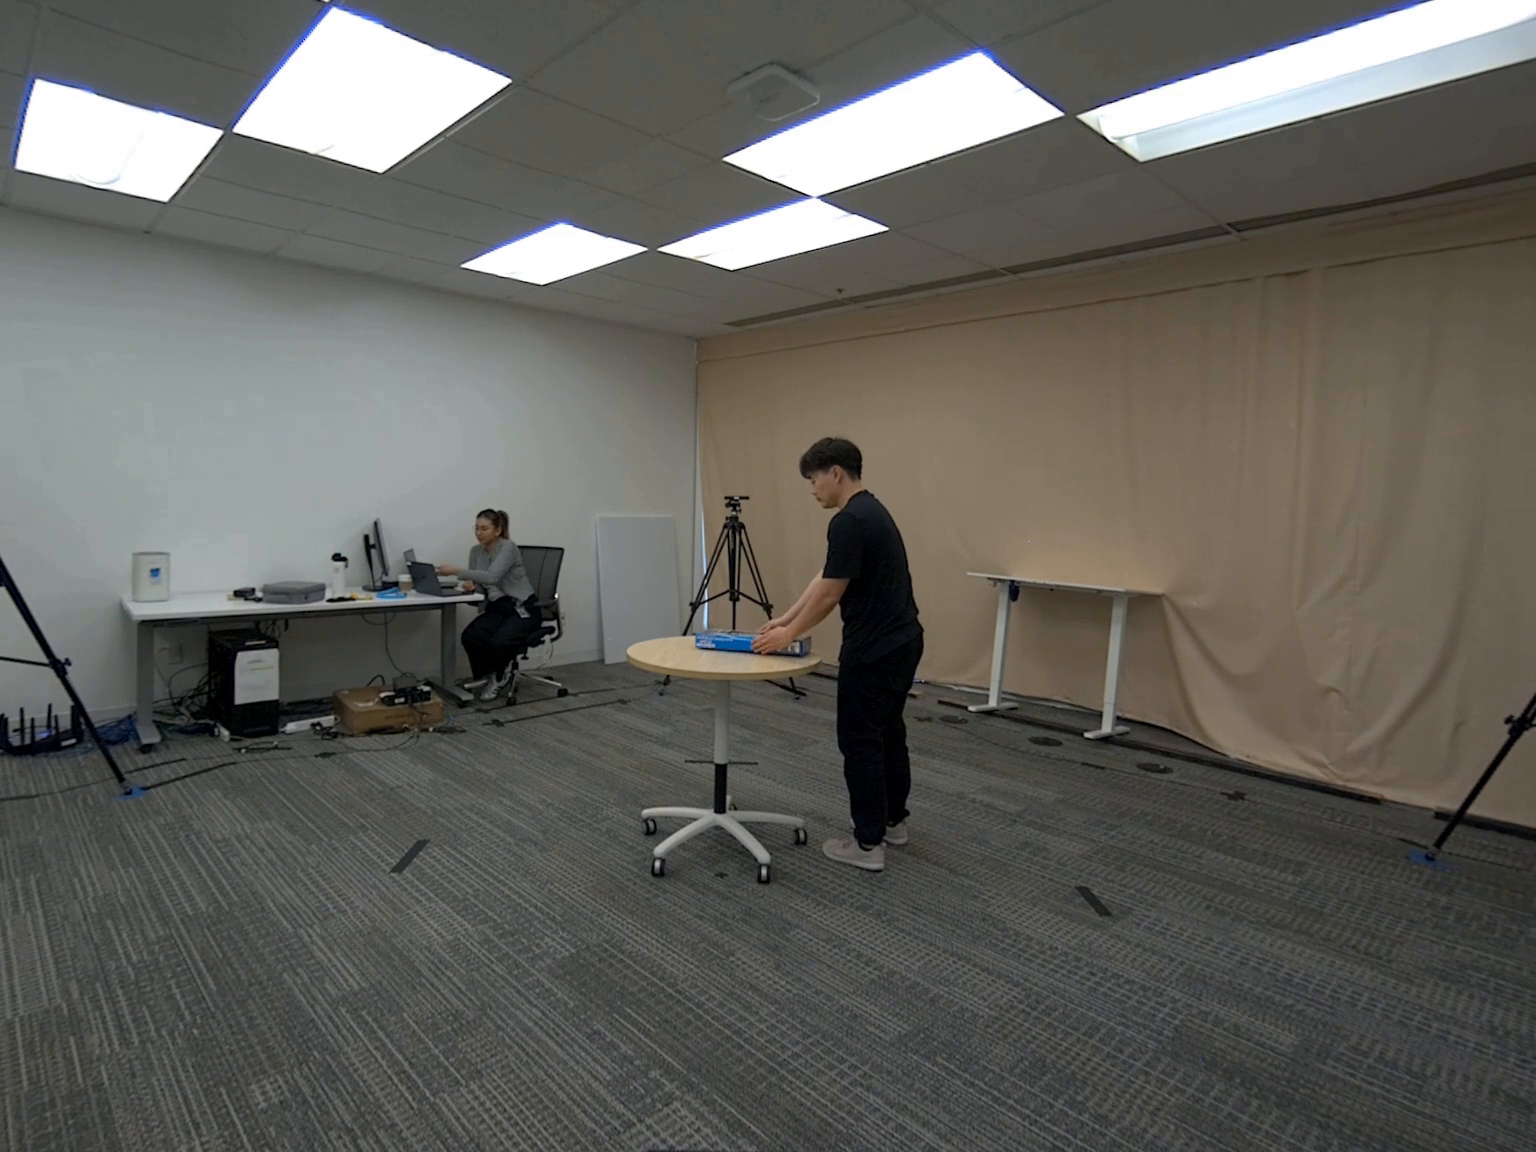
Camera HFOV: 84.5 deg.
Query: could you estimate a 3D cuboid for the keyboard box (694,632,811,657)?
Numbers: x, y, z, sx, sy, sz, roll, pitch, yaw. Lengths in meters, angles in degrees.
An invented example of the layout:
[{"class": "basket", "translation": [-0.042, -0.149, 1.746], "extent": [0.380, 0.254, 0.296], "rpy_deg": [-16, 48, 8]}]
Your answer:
[{"class": "keyboard box", "translation": [-0.066, 0.260, 3.384], "extent": [0.442, 0.059, 0.174], "rpy_deg": [4, 3, 14]}]
